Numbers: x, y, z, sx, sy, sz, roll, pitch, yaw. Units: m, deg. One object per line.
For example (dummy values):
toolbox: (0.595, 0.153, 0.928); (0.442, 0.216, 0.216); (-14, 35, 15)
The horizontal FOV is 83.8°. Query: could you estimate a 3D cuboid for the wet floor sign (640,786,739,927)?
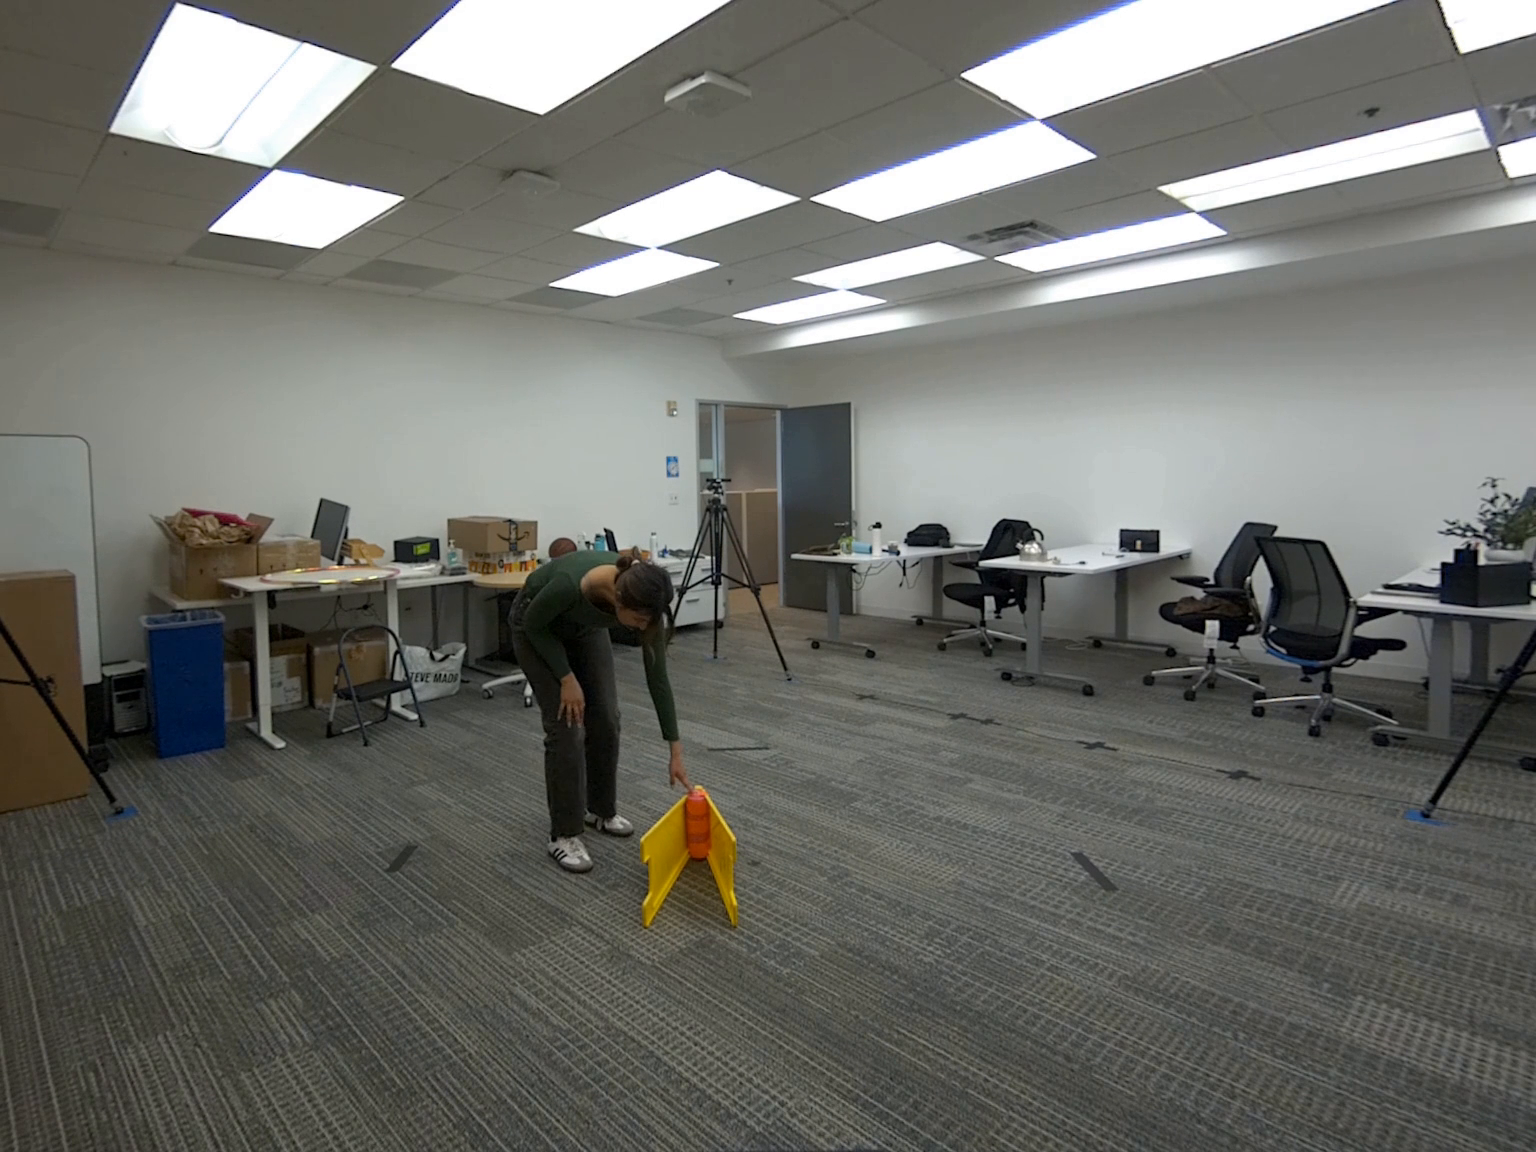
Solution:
wet floor sign: (-0.253, 0.928, 2.986); (0.290, 0.281, 0.648); (-1, 4, -1)
